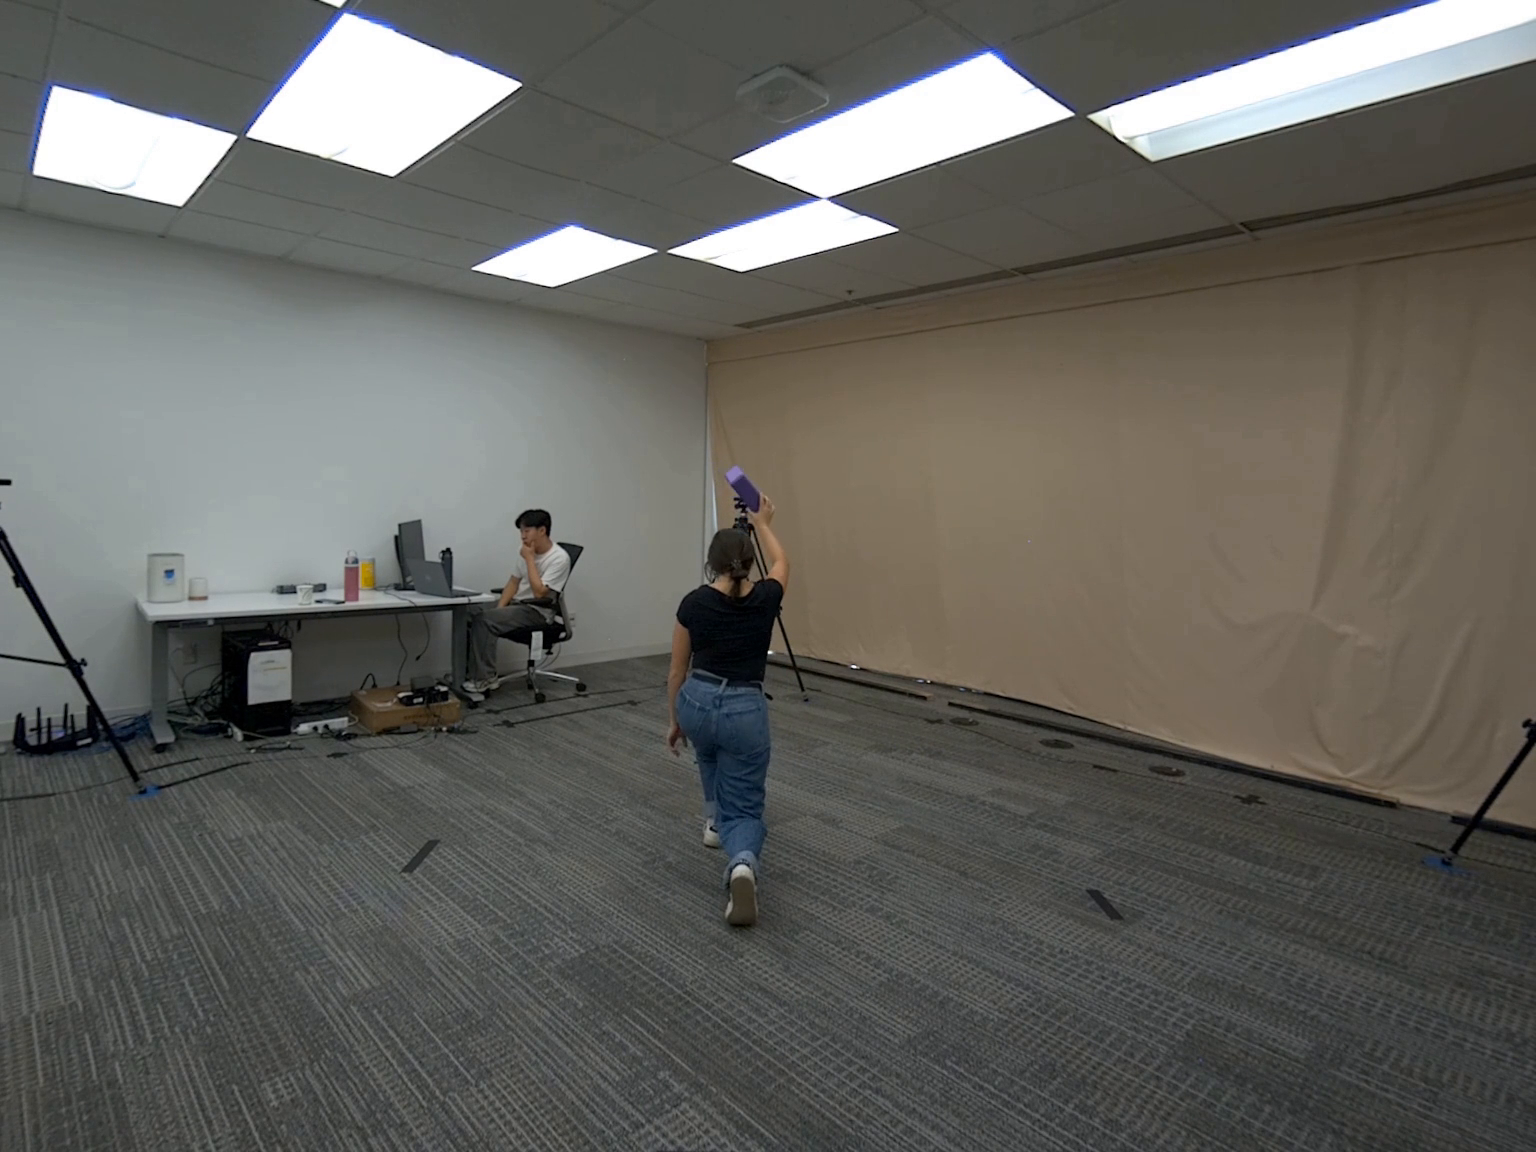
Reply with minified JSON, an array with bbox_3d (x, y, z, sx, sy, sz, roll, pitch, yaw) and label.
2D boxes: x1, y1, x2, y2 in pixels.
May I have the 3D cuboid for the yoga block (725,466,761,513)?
[{"bbox_3d":[-0.096,-0.347,3.721,0.076,0.224,0.152,-39,25,3],"label":"yoga block"}]
